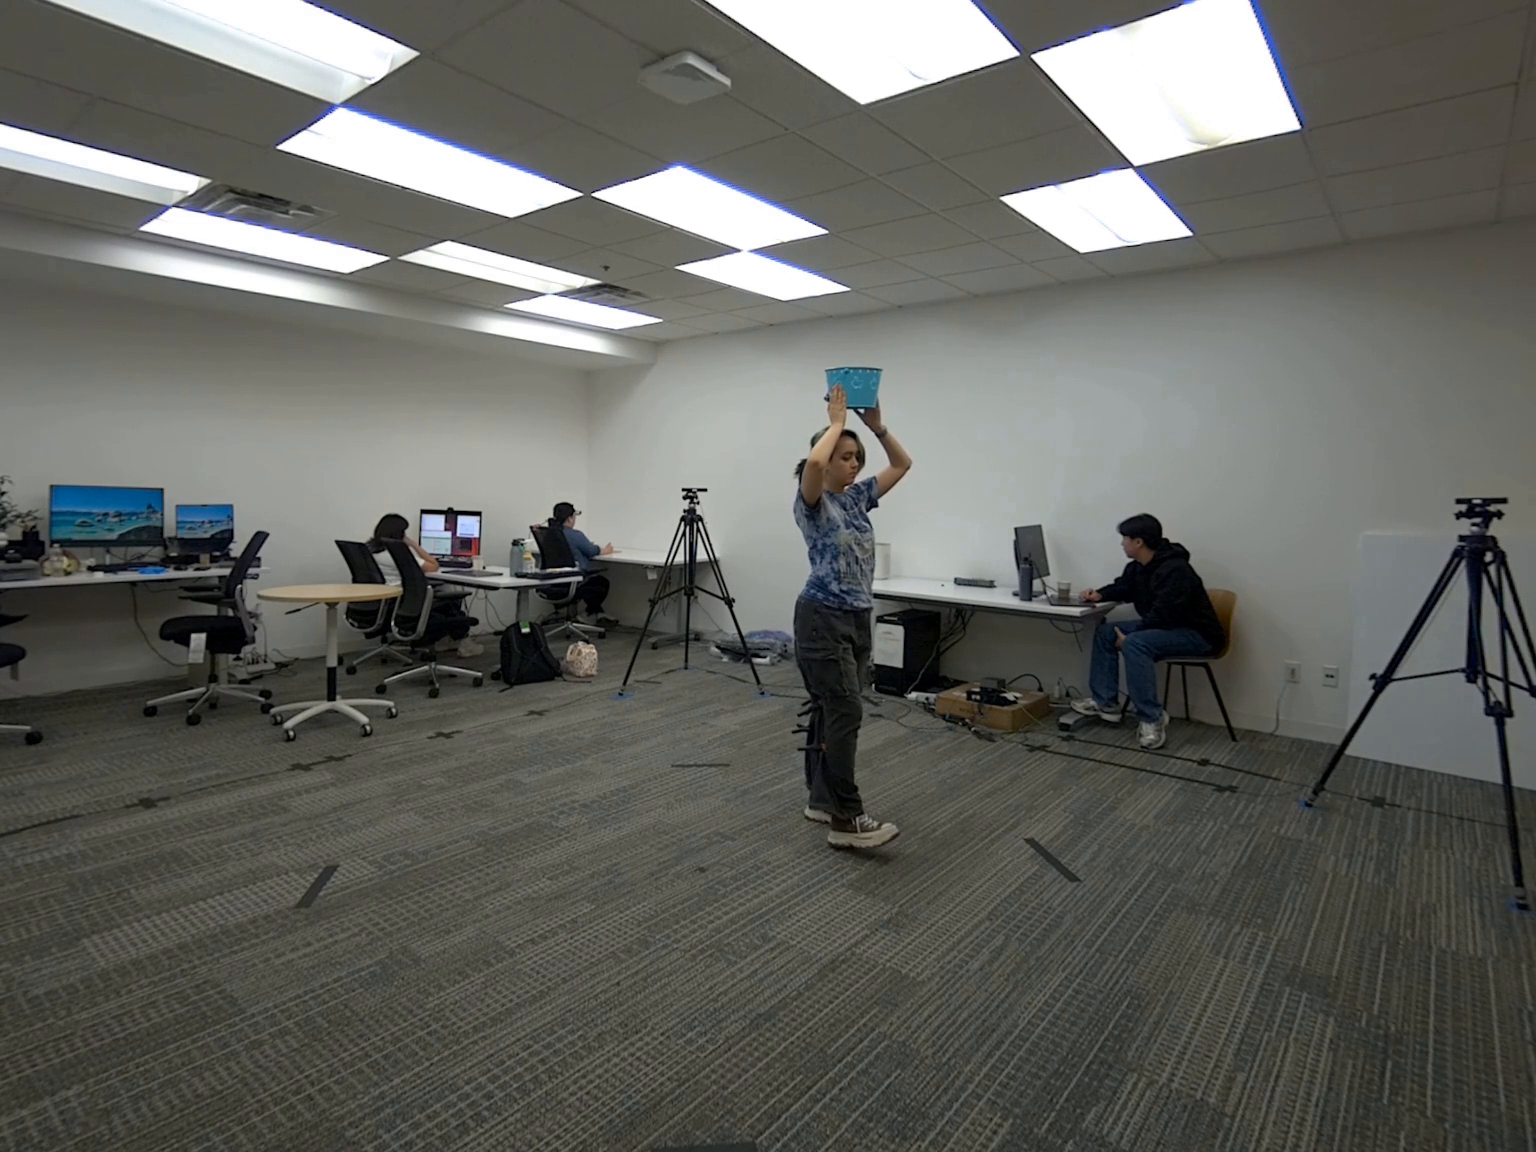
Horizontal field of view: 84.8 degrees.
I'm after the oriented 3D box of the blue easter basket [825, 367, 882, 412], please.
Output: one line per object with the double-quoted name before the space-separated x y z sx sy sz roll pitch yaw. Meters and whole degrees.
"blue easter basket" 0.343 -0.764 3.443 0.243 0.155 0.245 1 7 -2
